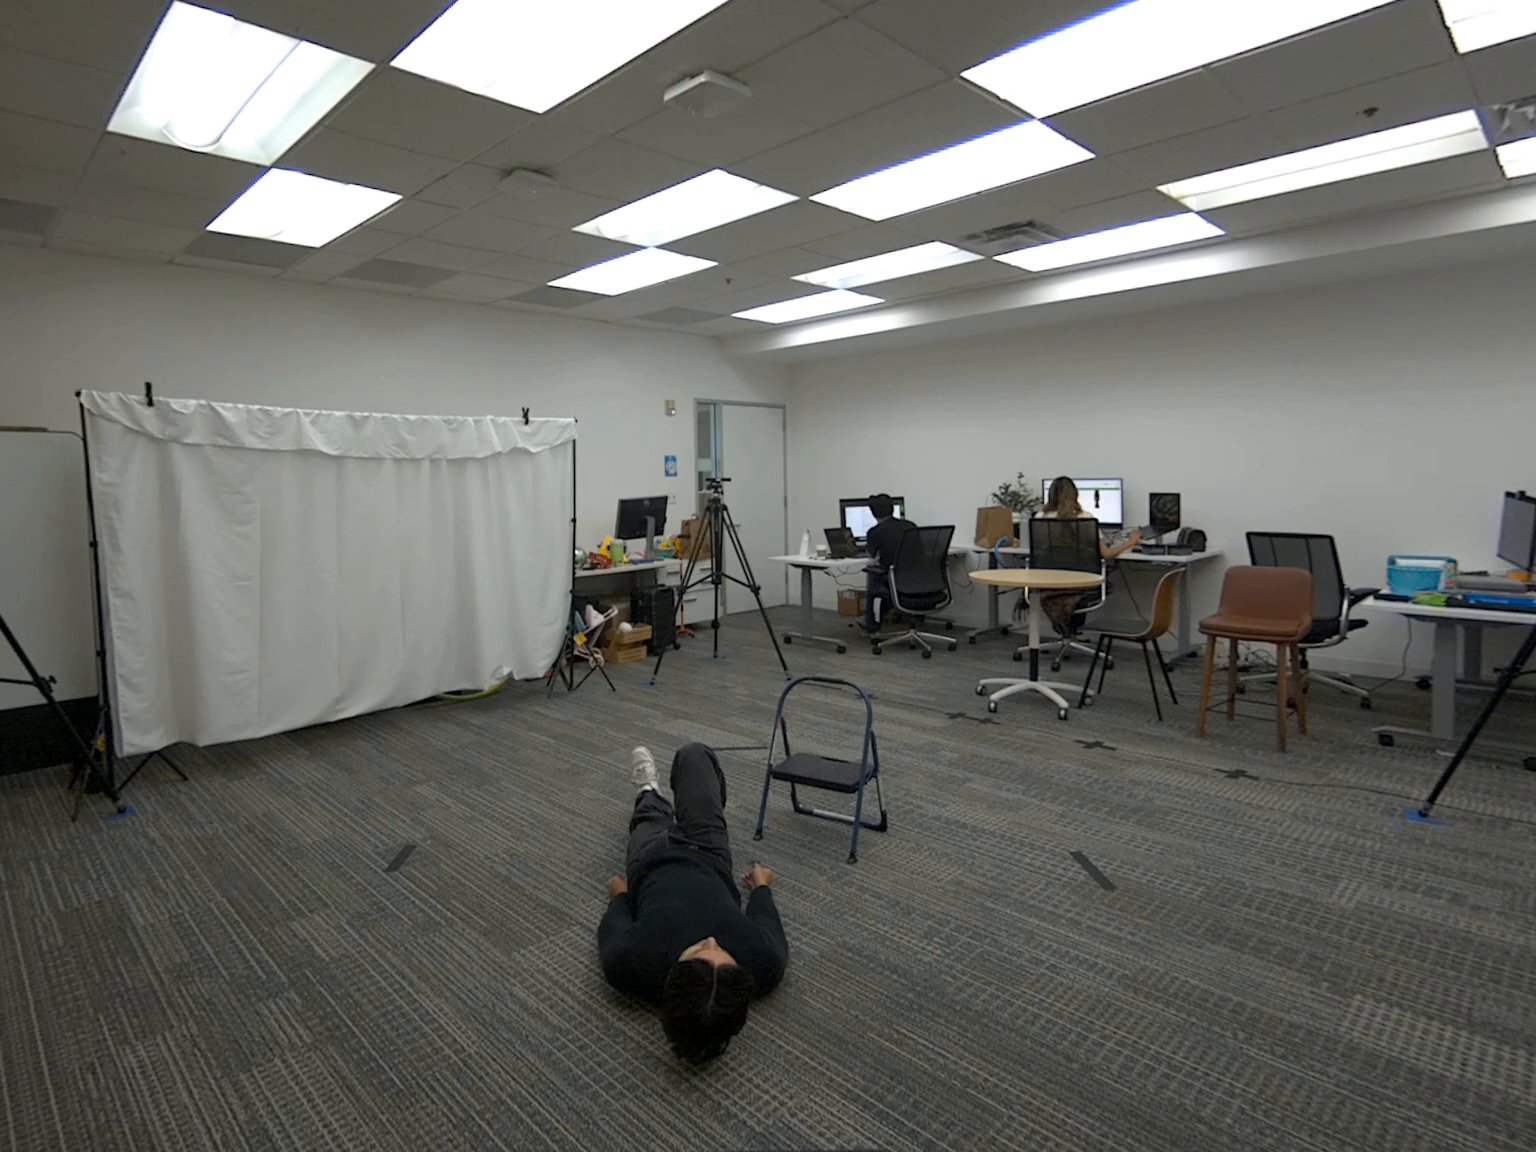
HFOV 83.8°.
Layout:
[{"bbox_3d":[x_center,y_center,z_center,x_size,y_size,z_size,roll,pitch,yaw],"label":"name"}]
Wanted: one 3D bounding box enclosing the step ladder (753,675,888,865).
[{"bbox_3d":[0.209,0.708,3.322,0.442,0.604,0.341,2,5,32],"label":"step ladder"}]
